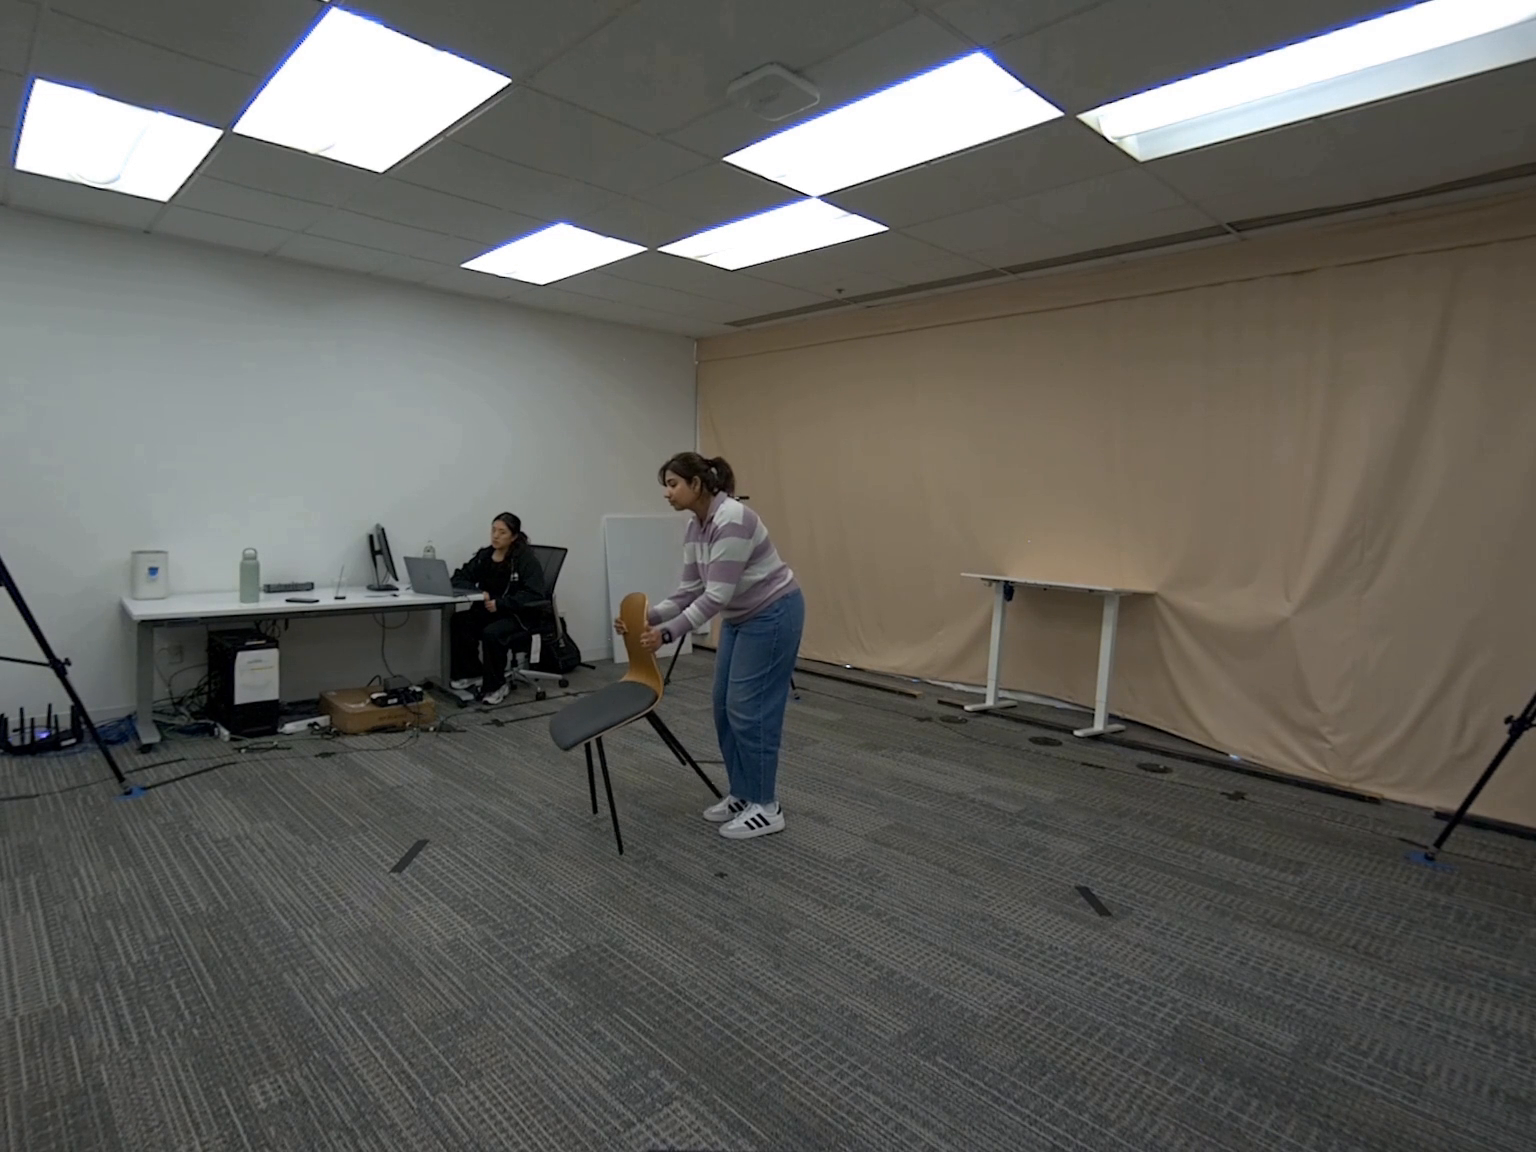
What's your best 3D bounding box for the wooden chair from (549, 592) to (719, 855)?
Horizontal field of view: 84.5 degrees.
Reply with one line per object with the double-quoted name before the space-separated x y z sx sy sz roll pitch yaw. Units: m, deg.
"wooden chair" -0.608 0.560 3.385 0.518 0.869 0.487 -20 11 -21
